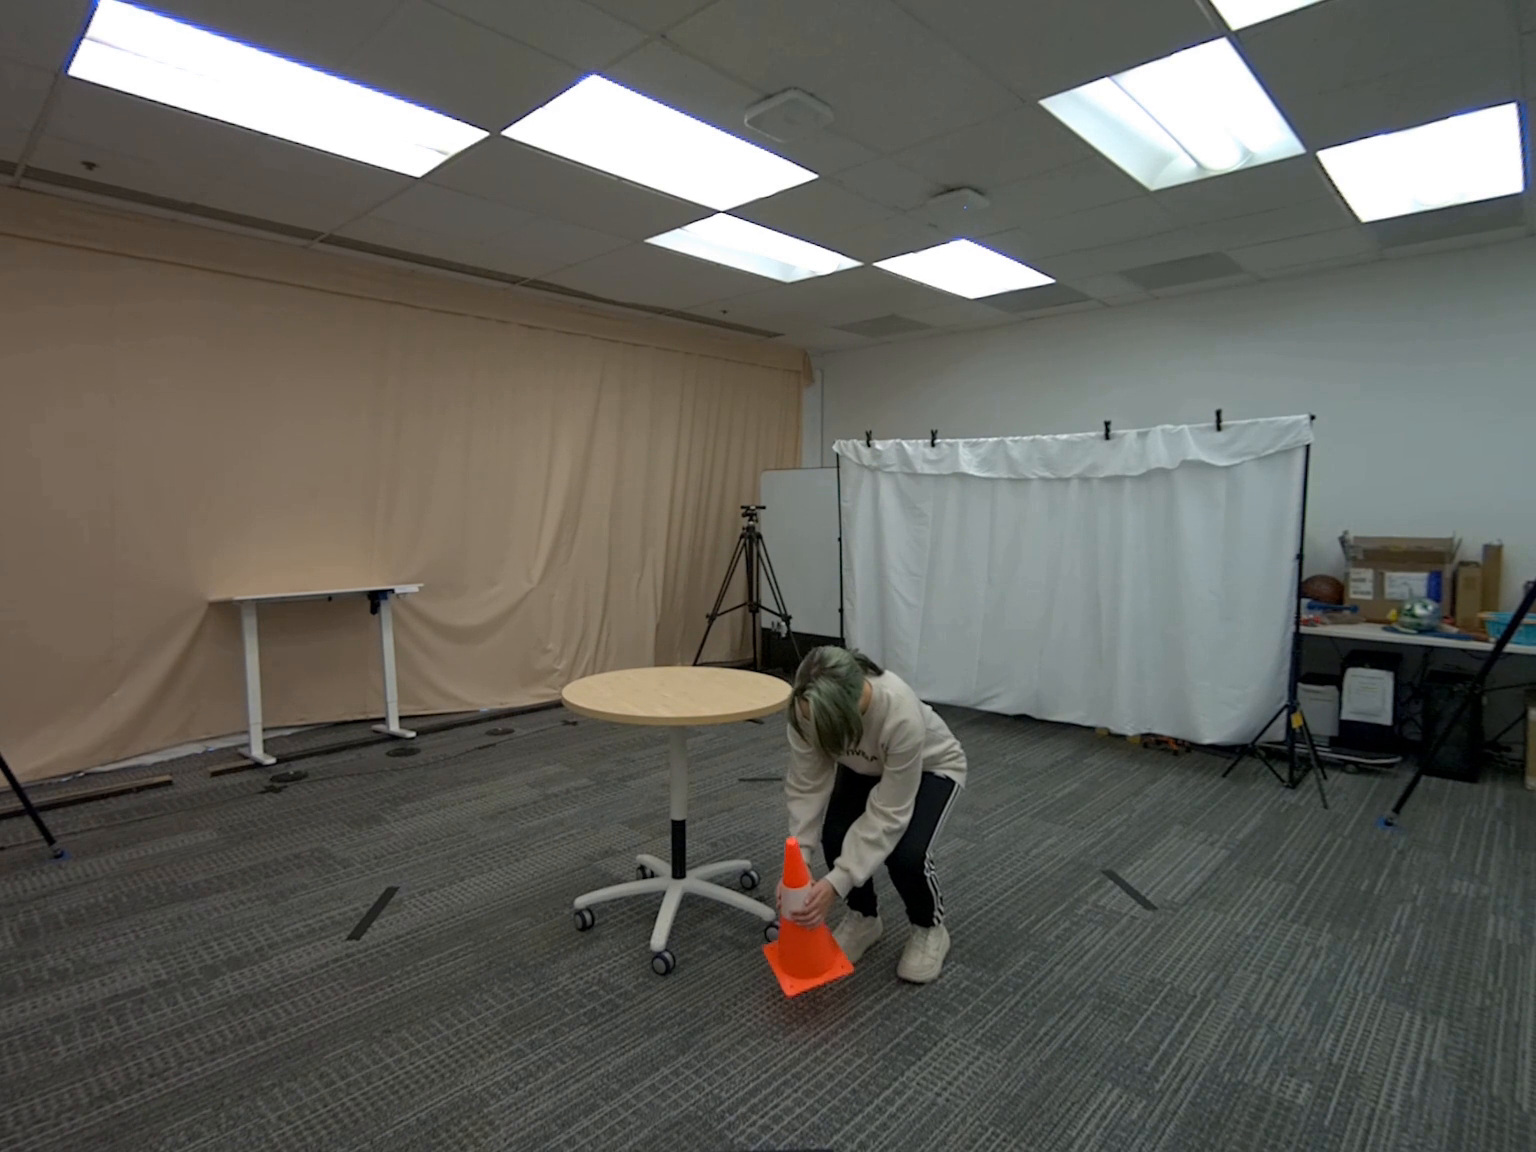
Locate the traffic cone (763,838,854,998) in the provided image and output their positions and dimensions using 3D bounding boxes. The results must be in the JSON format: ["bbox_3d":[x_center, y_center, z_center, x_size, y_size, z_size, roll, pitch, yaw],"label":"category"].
[{"bbox_3d":[0.090,0.873,2.264,0.201,0.381,0.209,-13,8,-25],"label":"traffic cone"}]
